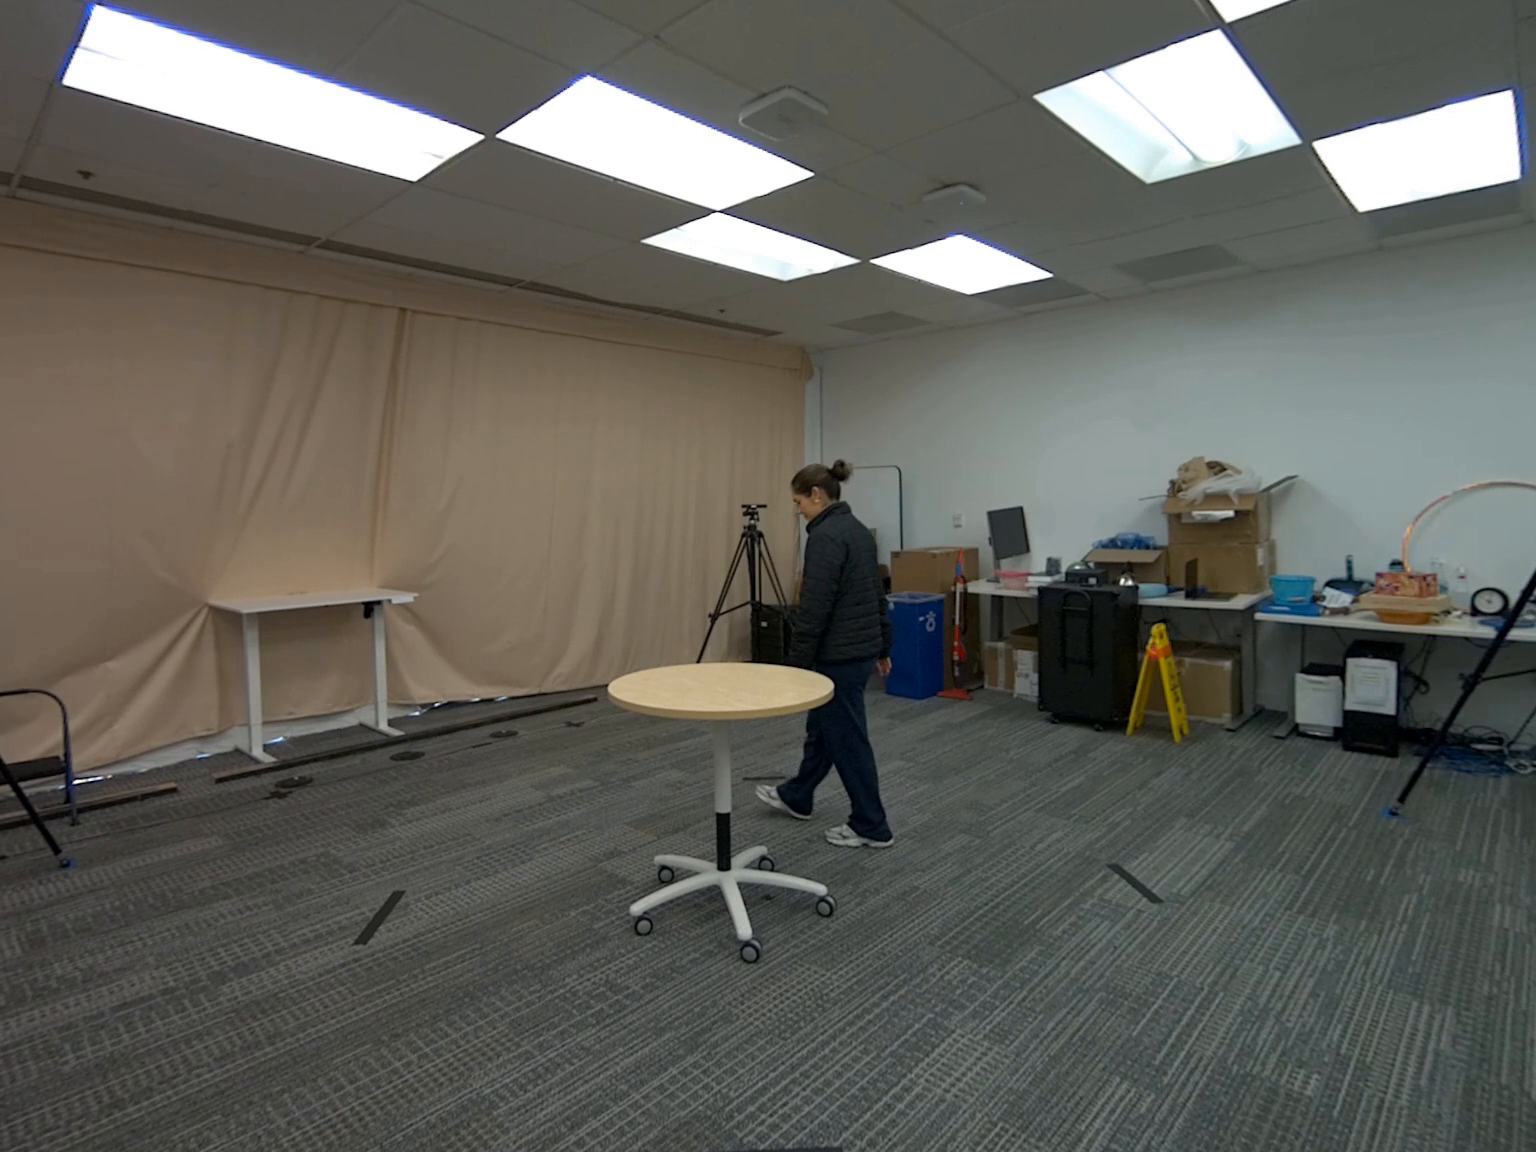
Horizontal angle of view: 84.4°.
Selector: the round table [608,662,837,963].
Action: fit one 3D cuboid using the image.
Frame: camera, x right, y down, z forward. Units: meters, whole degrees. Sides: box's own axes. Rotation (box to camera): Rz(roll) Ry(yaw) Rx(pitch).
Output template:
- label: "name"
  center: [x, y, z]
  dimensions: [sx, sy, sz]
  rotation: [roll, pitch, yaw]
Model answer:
- label: "round table"
  center: [-0.144, 0.756, 2.903]
  dimensions: [0.784, 0.785, 0.788]
  rotation: [-1, 4, -2]
